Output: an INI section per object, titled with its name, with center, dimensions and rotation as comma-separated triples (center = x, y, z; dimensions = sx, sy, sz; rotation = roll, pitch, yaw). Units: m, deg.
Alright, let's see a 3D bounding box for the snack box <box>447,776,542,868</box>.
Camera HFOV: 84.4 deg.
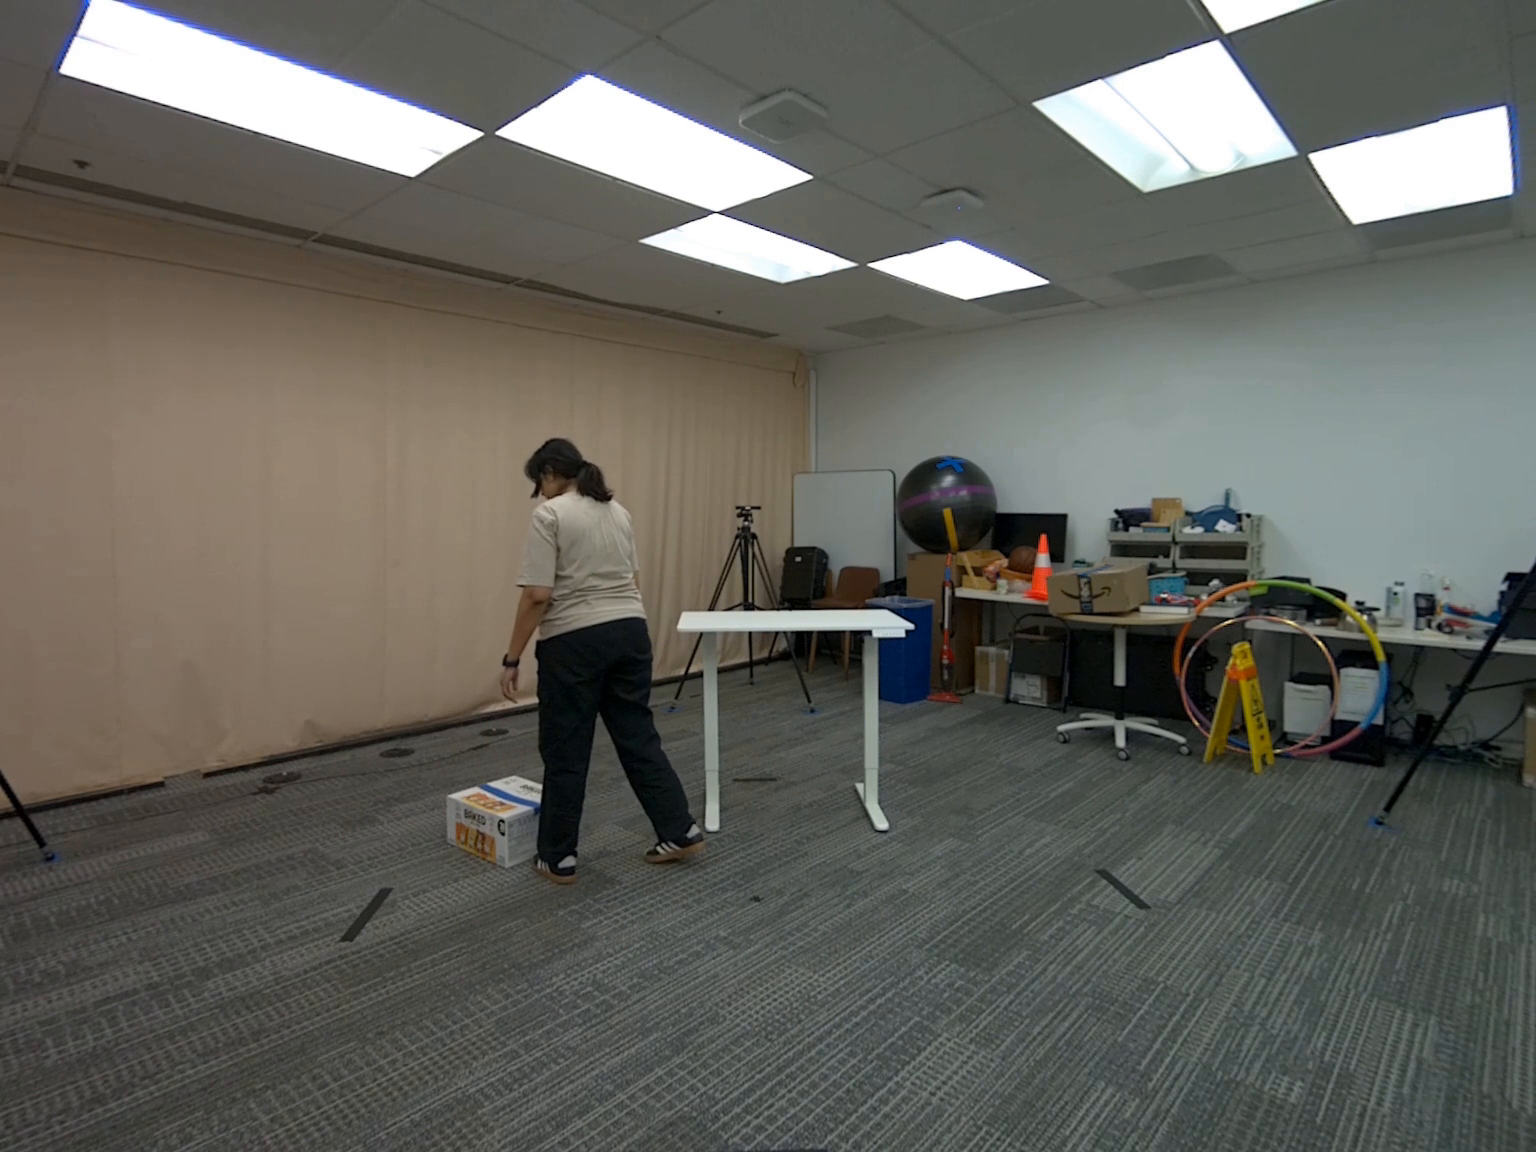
[snack box]
center = -1.072, 1.012, 3.494
dimensions = 0.418, 0.205, 0.330
rotation = 3, 6, 38
